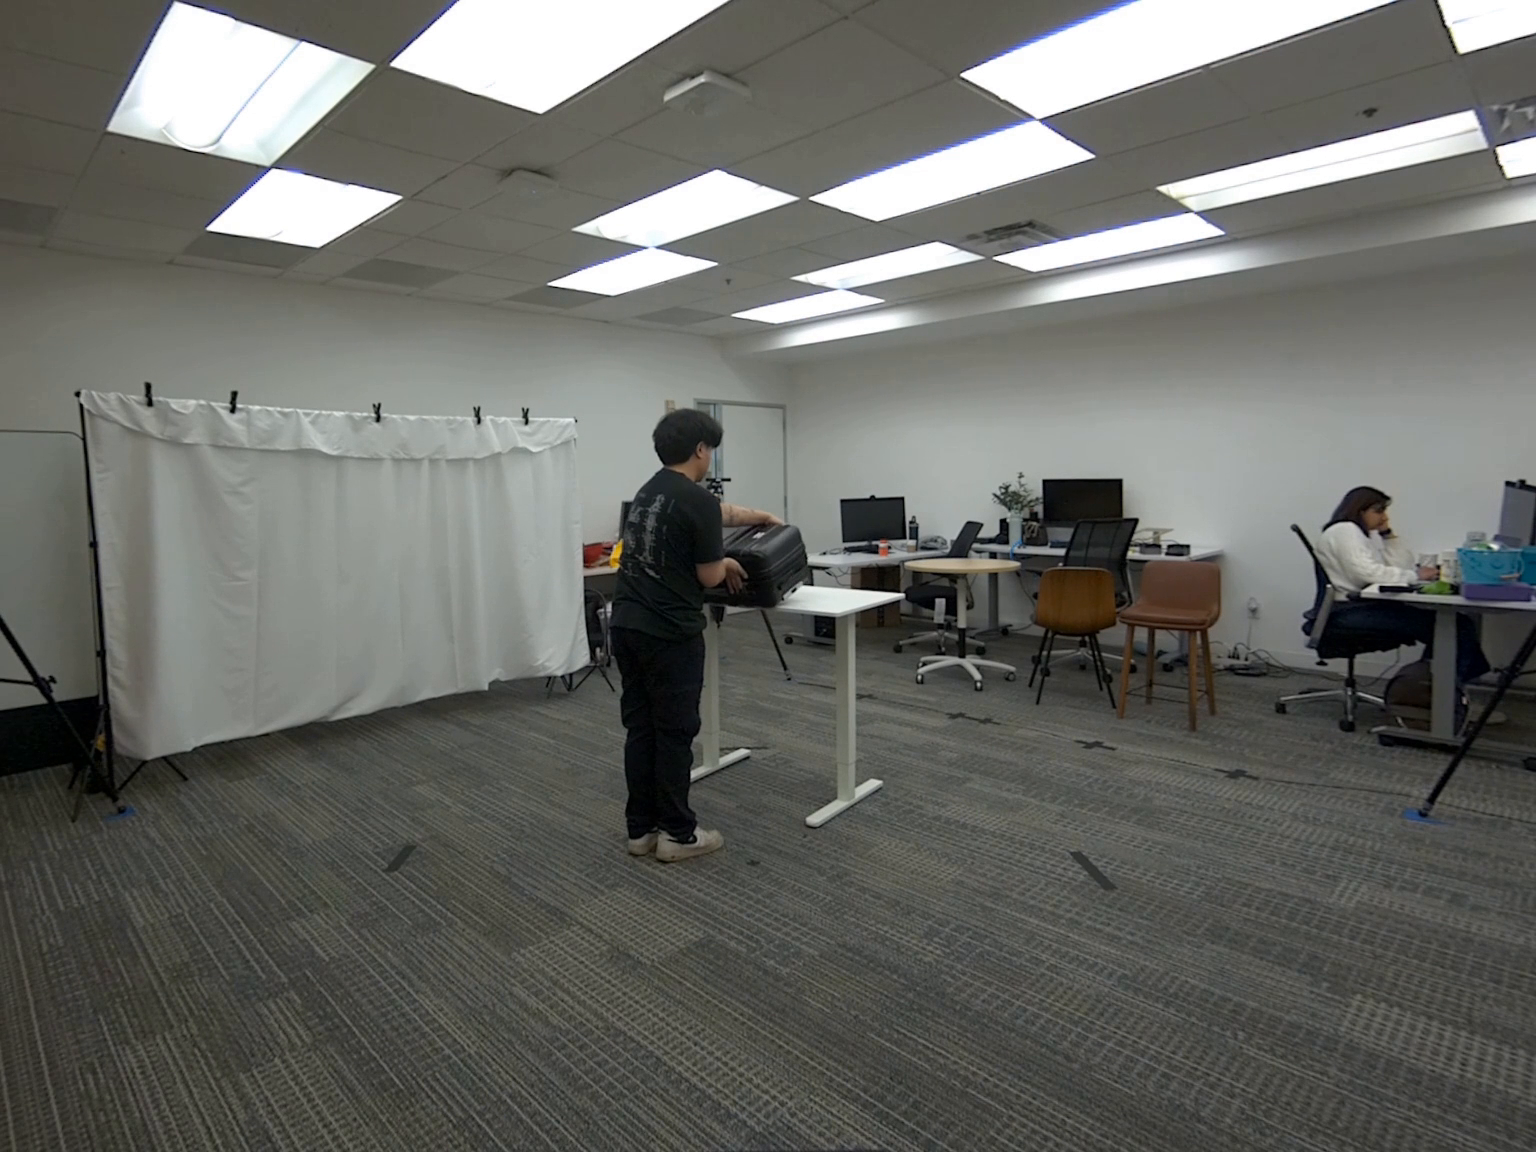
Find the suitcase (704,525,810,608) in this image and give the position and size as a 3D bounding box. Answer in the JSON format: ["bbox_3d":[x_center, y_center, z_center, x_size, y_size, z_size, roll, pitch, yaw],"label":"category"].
[{"bbox_3d":[-0.129,-0.051,3.620,0.565,0.244,0.372,1,23,35],"label":"suitcase"}]
